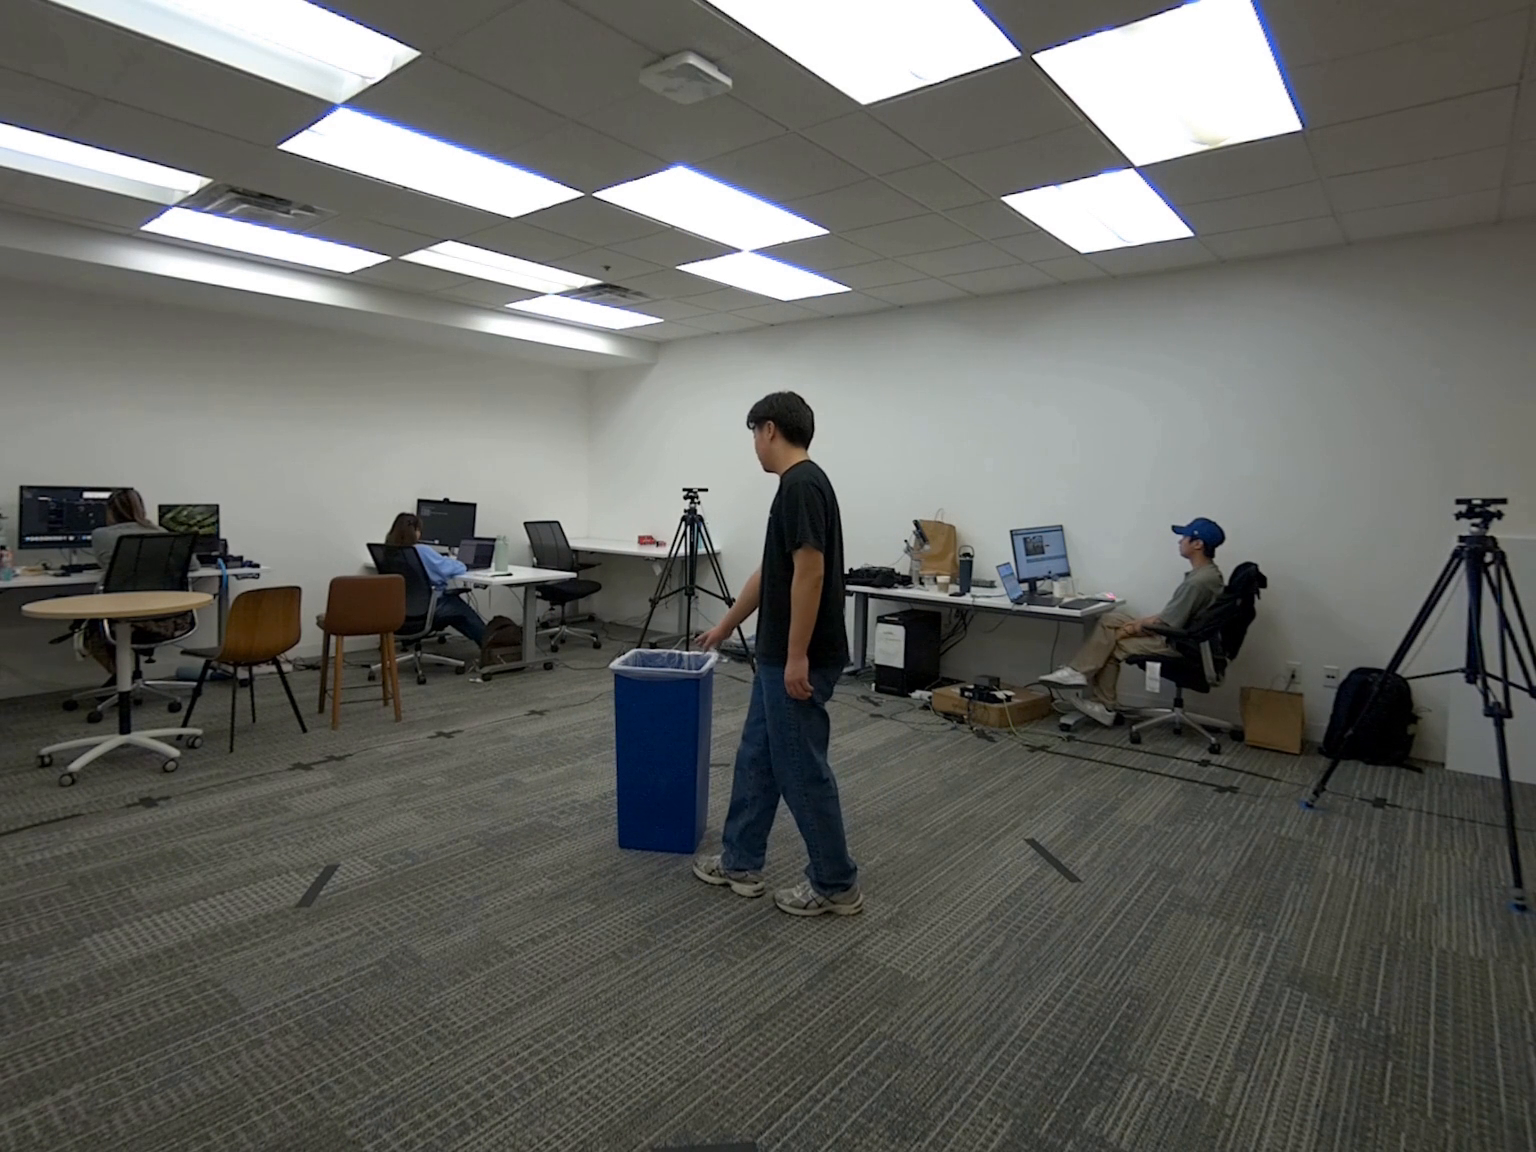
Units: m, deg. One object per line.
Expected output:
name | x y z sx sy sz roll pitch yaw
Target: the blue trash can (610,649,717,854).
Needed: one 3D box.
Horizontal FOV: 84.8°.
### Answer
blue trash can | -0.427 0.680 3.391 0.381 0.710 0.372 1 5 7
